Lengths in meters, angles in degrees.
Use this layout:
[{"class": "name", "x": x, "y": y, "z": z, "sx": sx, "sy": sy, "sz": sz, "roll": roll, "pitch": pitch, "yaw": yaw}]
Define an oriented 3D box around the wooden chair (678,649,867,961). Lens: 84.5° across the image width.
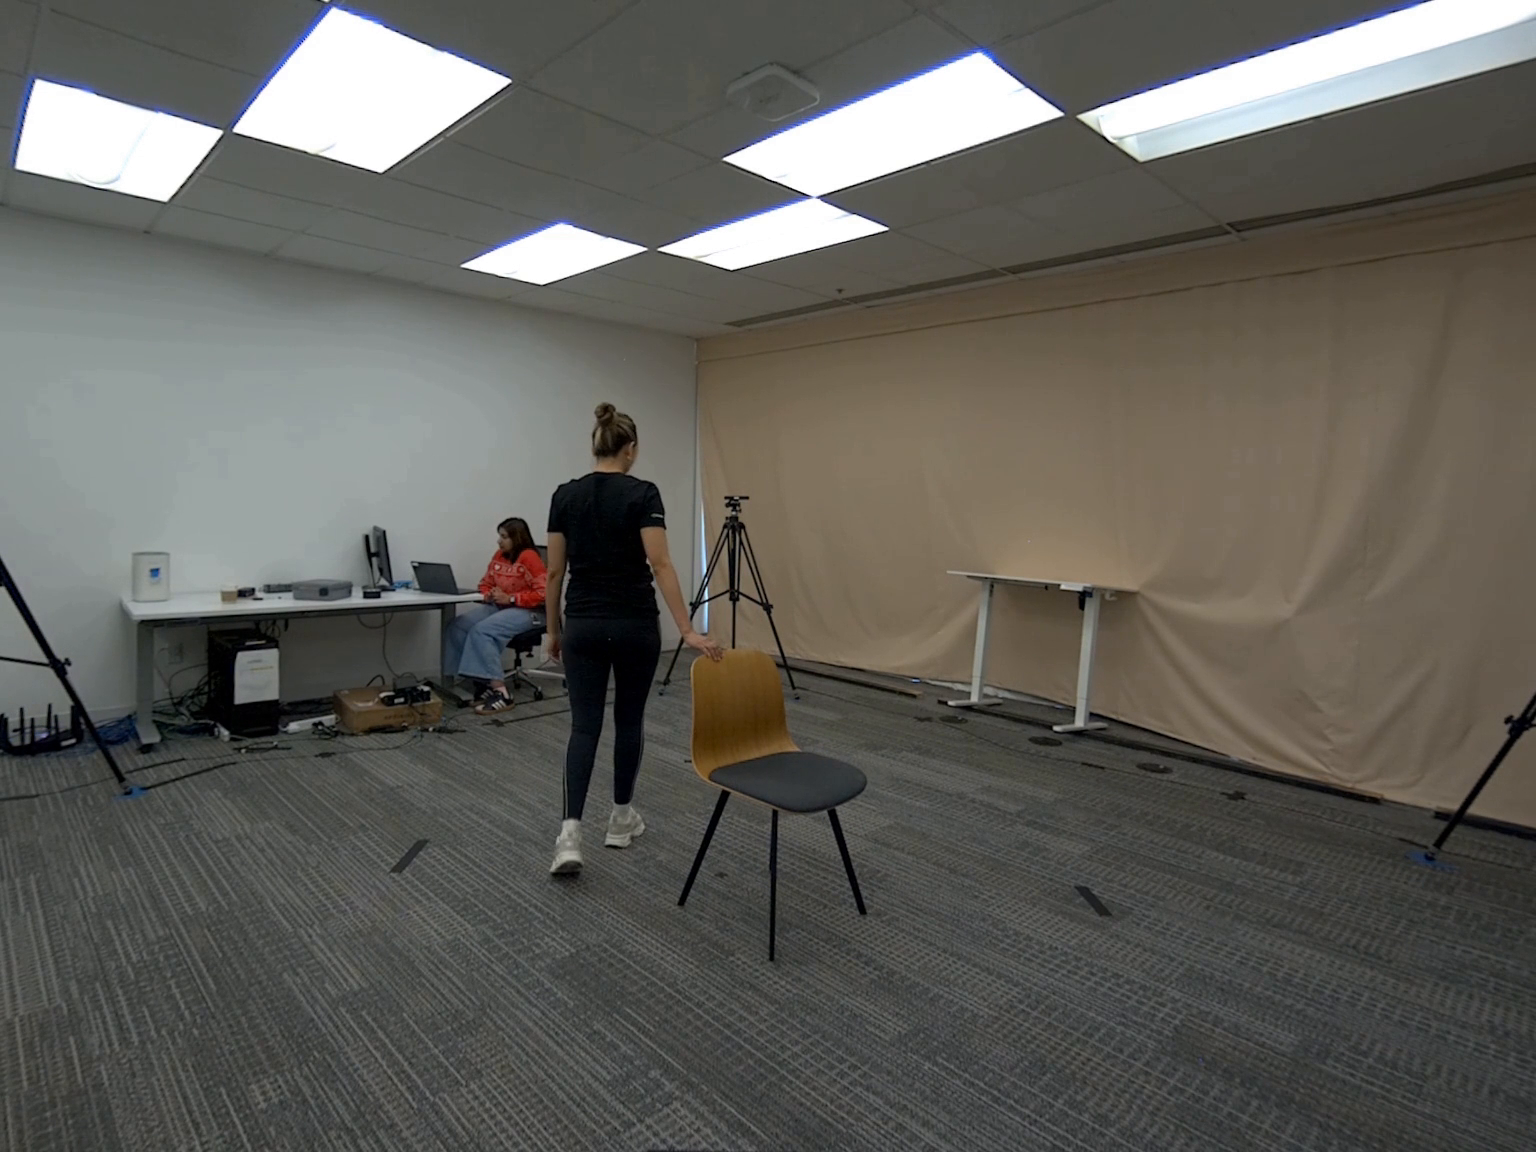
[{"class": "wooden chair", "x": 0.024, "y": 0.708, "z": 2.807, "sx": 0.467, "sy": 0.877, "sz": 0.535, "roll": -2, "pitch": 0, "yaw": -43}]
